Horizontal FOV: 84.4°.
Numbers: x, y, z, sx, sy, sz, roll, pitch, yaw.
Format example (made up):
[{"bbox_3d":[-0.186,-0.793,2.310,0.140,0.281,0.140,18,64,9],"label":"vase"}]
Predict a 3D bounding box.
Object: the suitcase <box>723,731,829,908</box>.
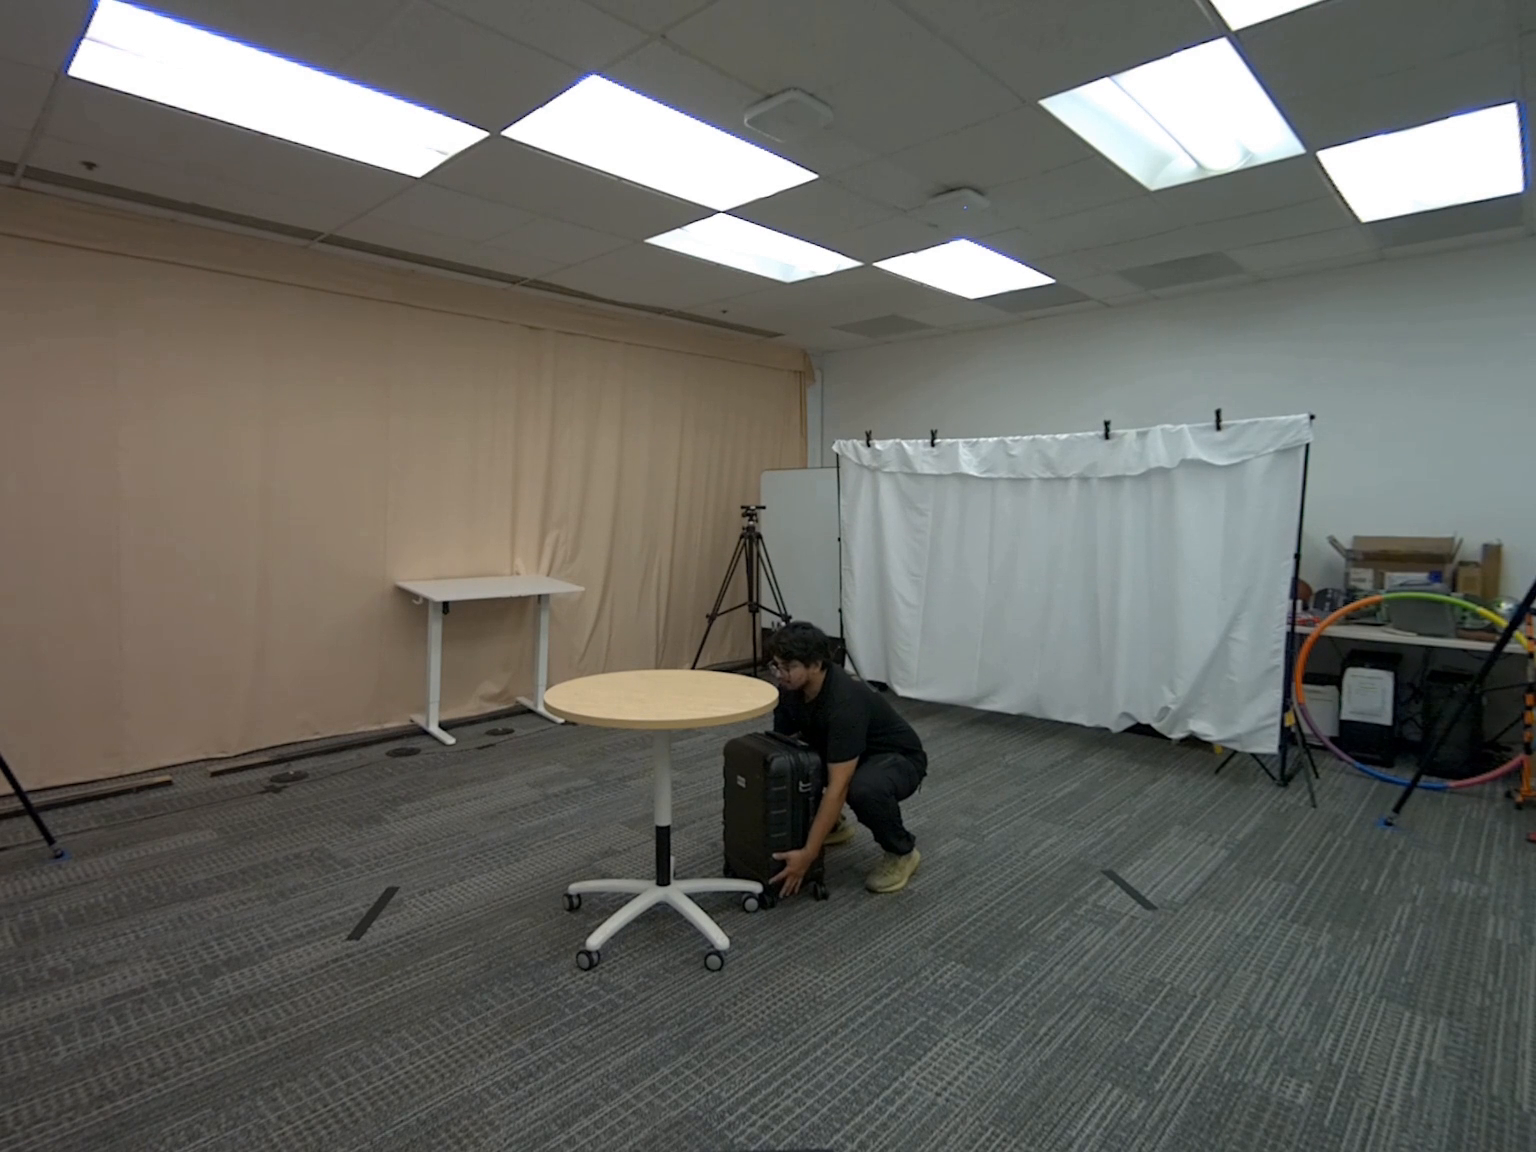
[{"bbox_3d":[0.015,0.860,3.064,0.242,0.548,0.385,-3,3,-27],"label":"suitcase"}]
